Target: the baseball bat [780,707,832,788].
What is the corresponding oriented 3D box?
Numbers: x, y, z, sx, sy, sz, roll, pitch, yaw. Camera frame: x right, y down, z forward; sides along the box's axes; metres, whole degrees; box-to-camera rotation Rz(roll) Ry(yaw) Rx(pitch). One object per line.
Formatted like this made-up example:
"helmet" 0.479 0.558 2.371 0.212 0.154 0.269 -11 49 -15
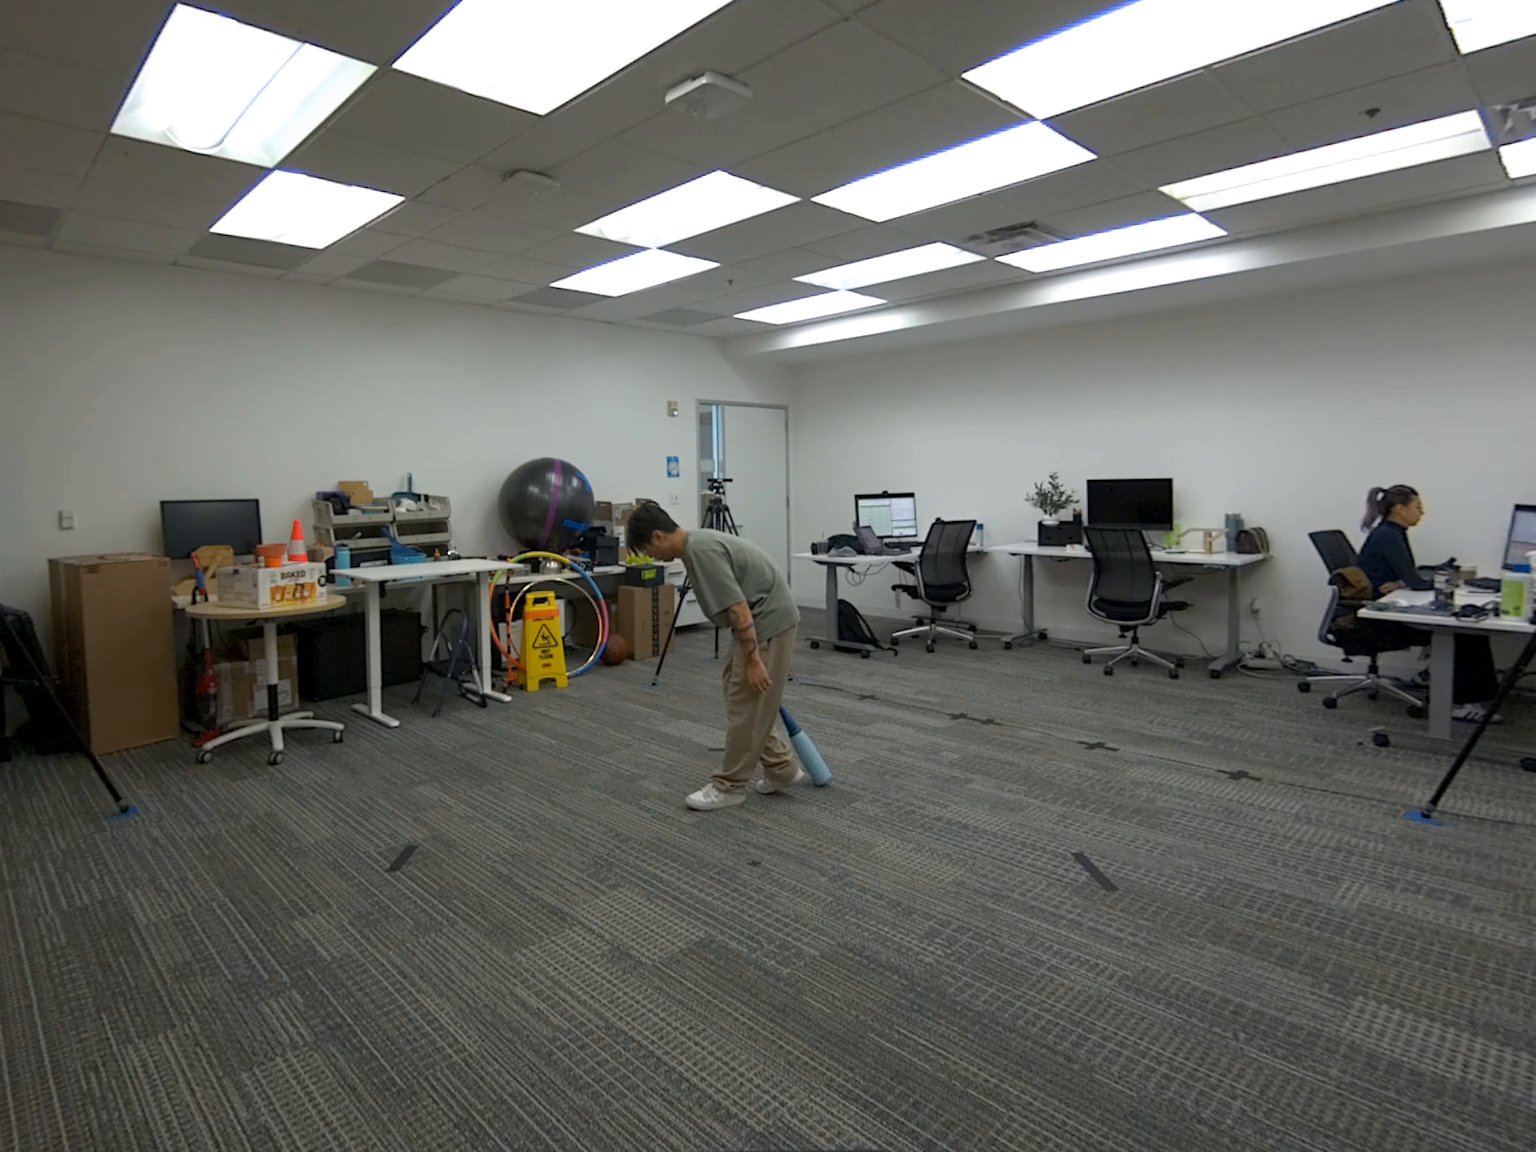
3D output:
"baseball bat" 0.121 0.713 3.923 0.089 0.550 0.088 -31 -10 -7
